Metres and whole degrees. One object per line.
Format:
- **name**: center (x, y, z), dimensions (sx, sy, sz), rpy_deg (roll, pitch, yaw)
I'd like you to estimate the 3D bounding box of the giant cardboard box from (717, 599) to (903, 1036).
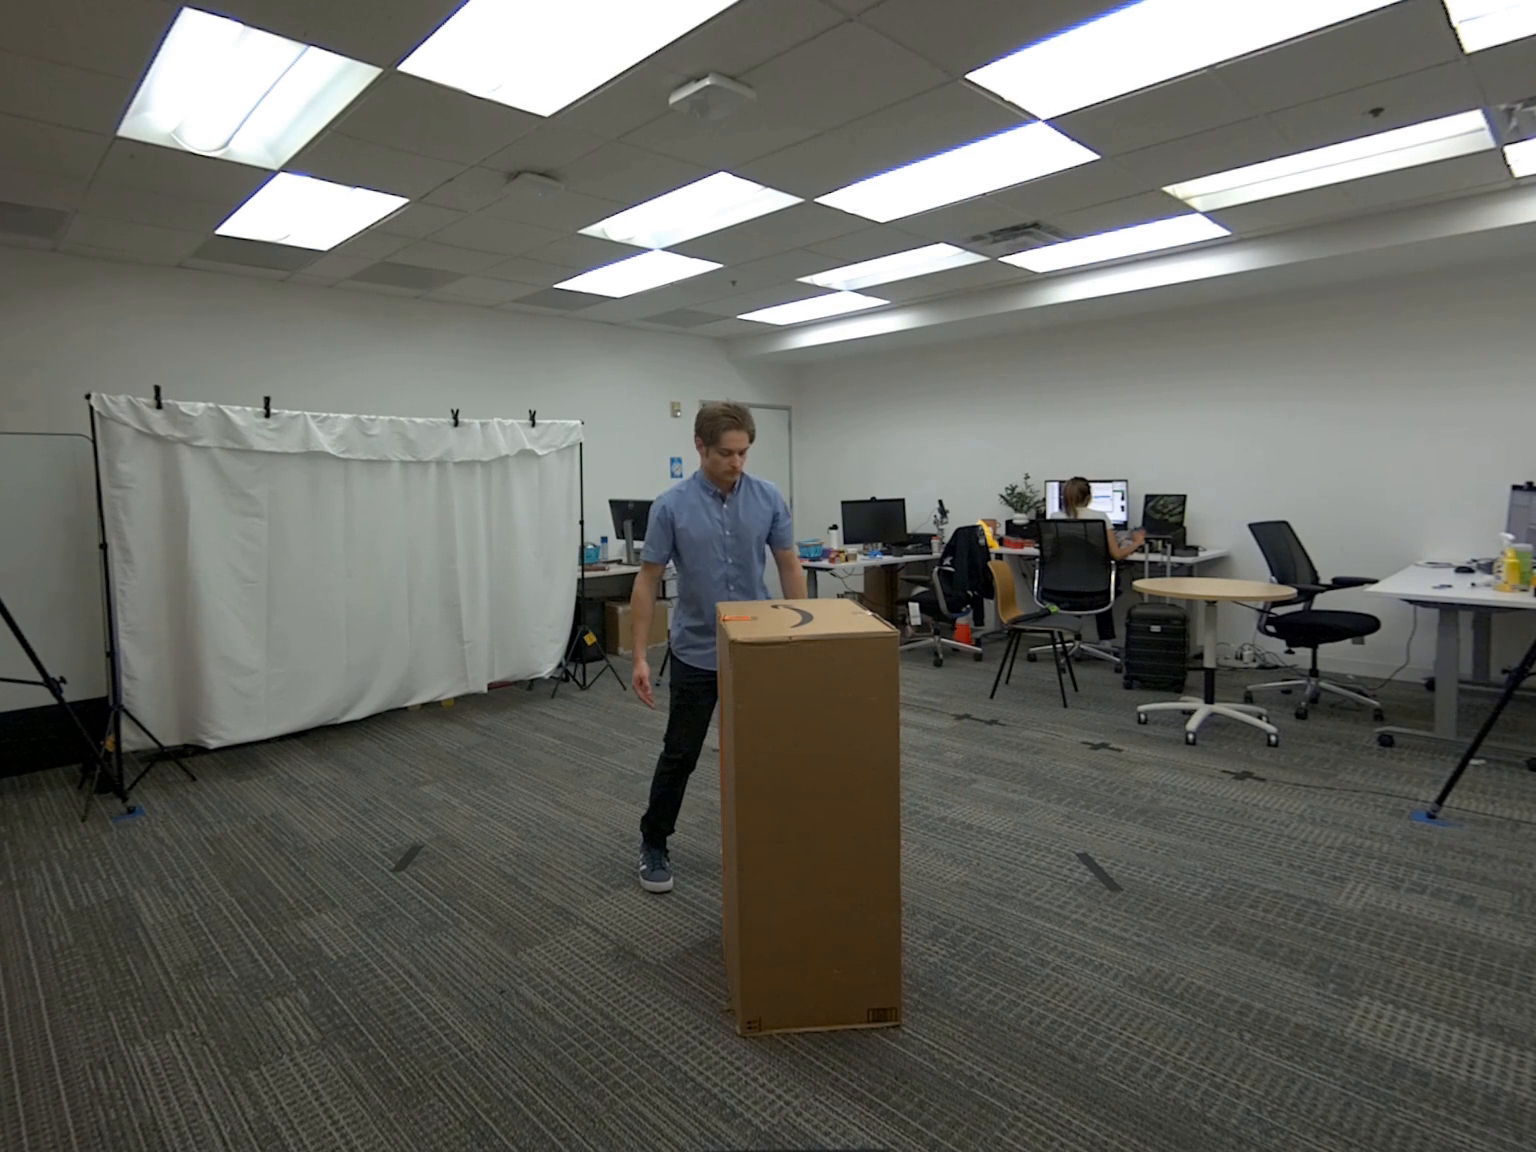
- **giant cardboard box**: center (0.096, 0.617, 2.404), dimensions (0.424, 1.021, 0.583), rpy_deg (-1, 5, -5)
